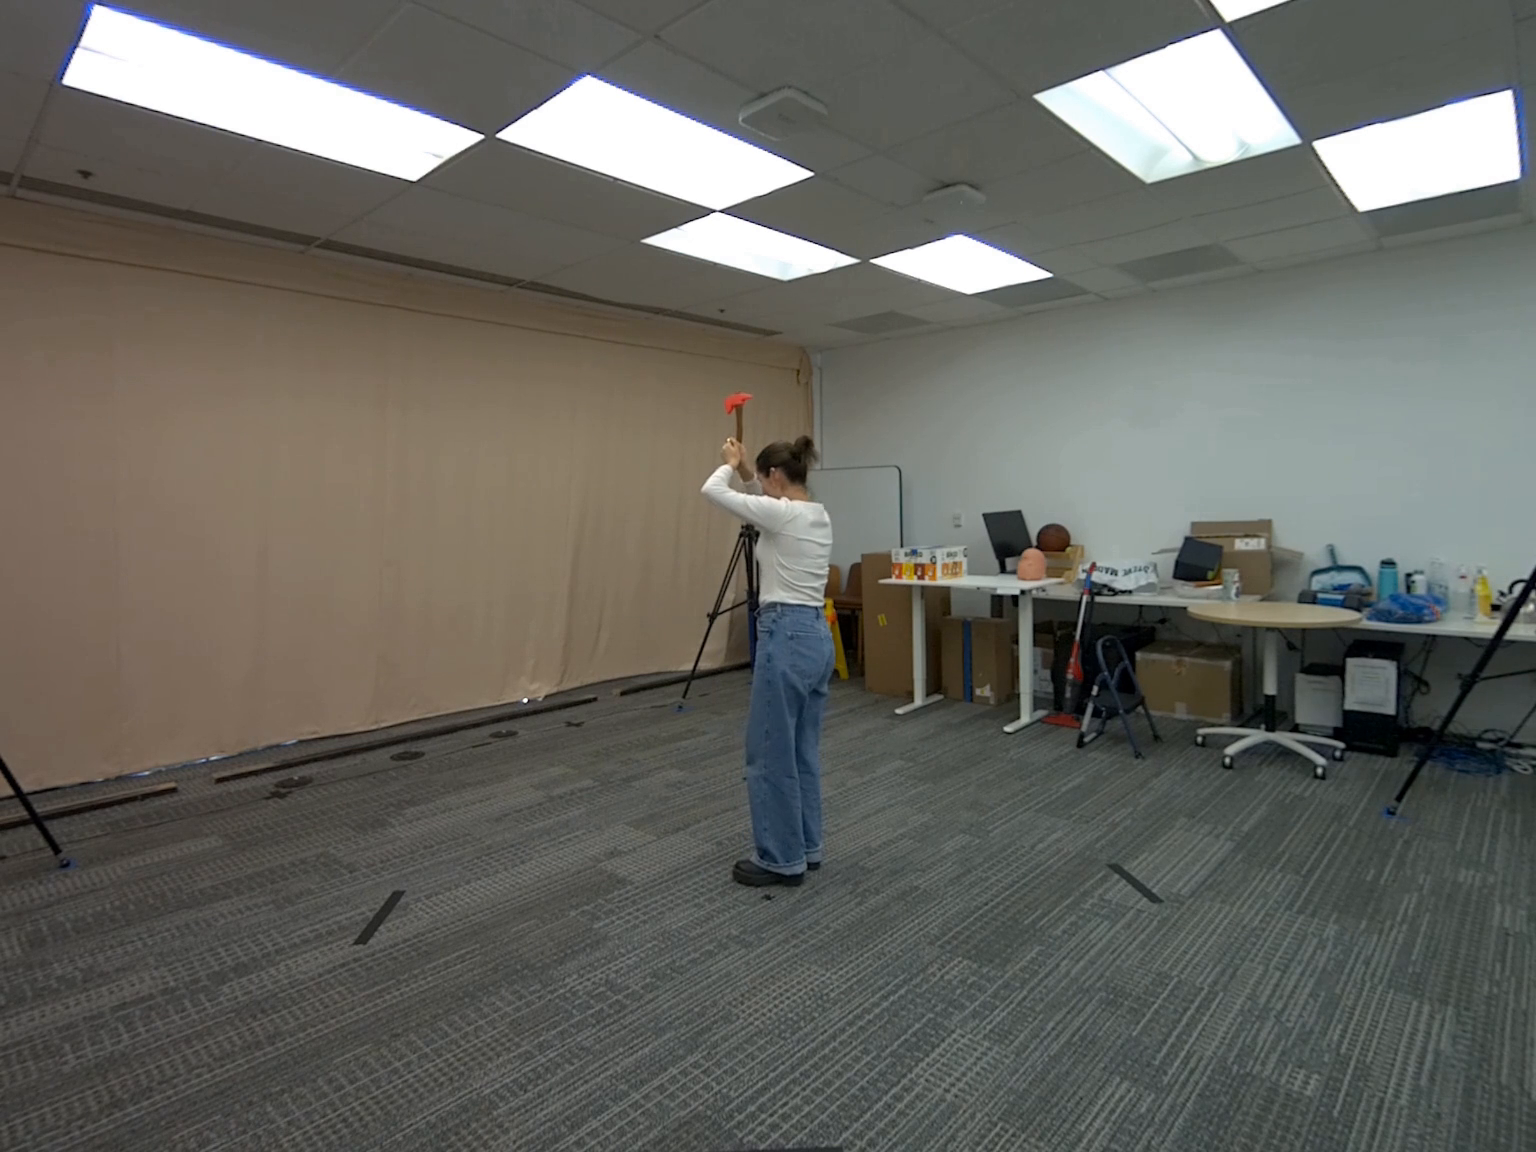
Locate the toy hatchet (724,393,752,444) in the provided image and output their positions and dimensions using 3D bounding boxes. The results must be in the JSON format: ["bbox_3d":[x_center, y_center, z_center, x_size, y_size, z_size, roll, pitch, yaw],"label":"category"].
[{"bbox_3d":[-0.133,-0.588,3.278,0.135,0.269,0.029,19,10,31],"label":"toy hatchet"}]
